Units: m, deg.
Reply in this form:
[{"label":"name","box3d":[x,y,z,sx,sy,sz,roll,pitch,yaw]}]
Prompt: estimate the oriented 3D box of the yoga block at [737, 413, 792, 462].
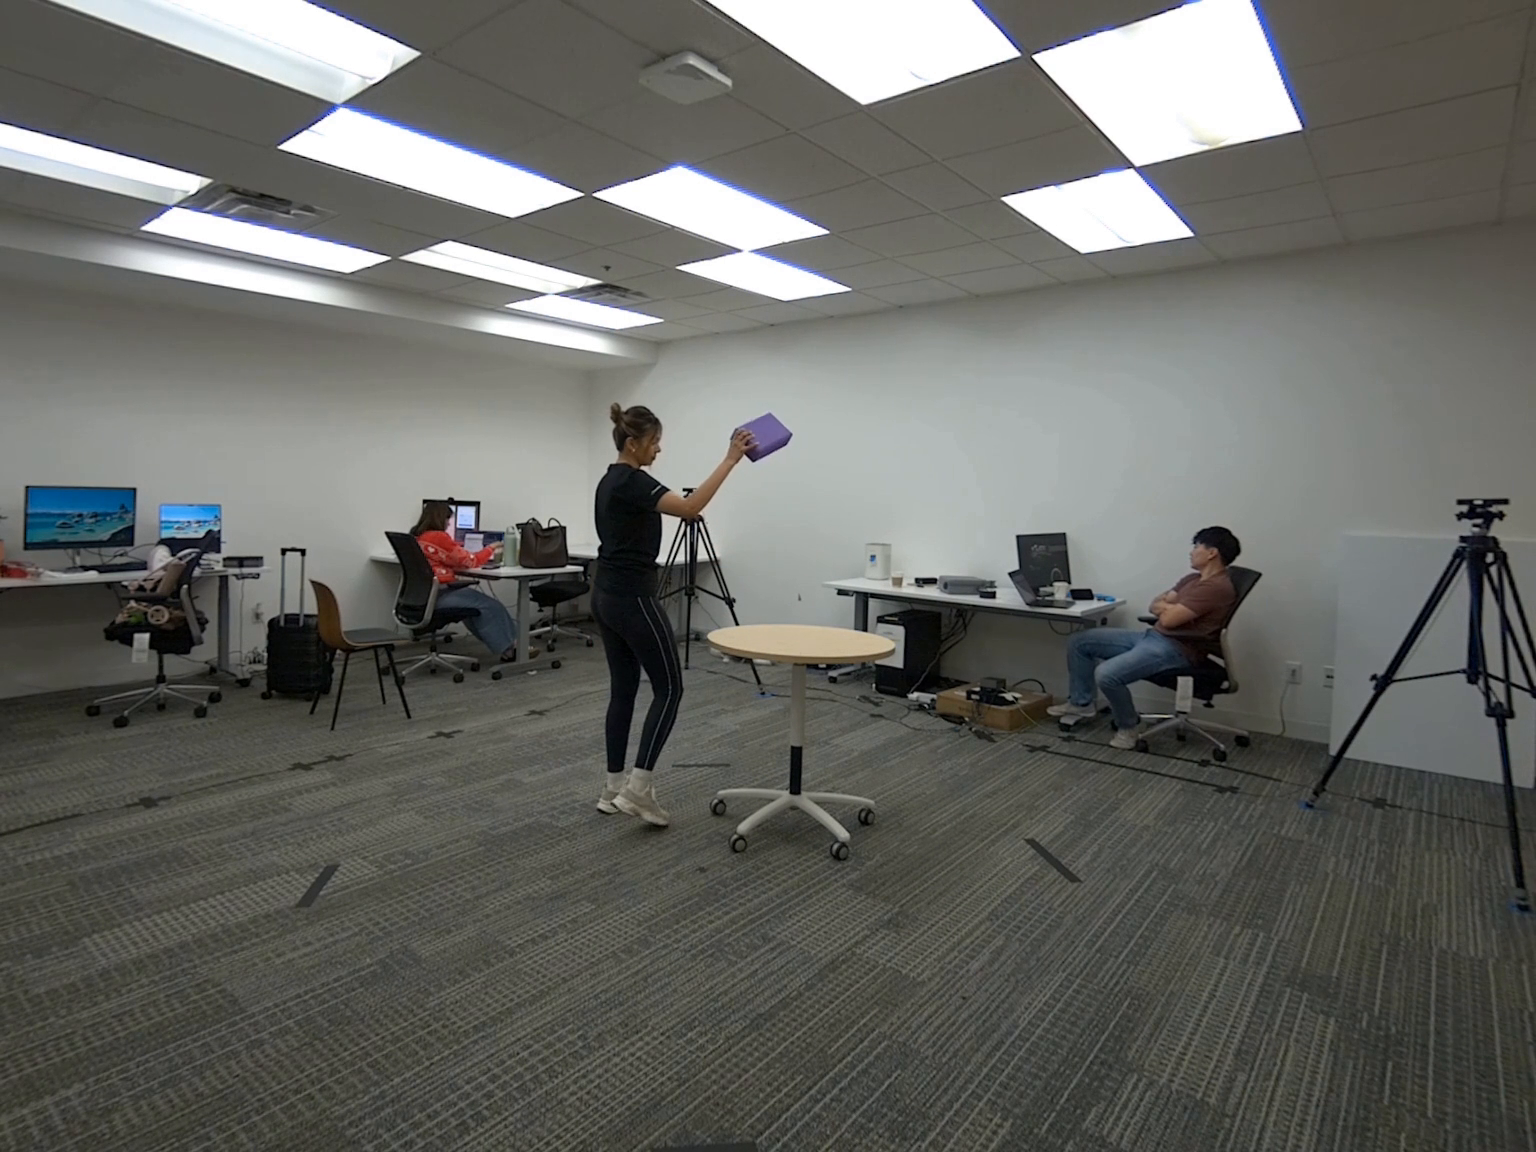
[{"label":"yoga block","box3d":[-0.031,-0.577,3.510,0.227,0.152,0.075,-33,-20,-38]}]
